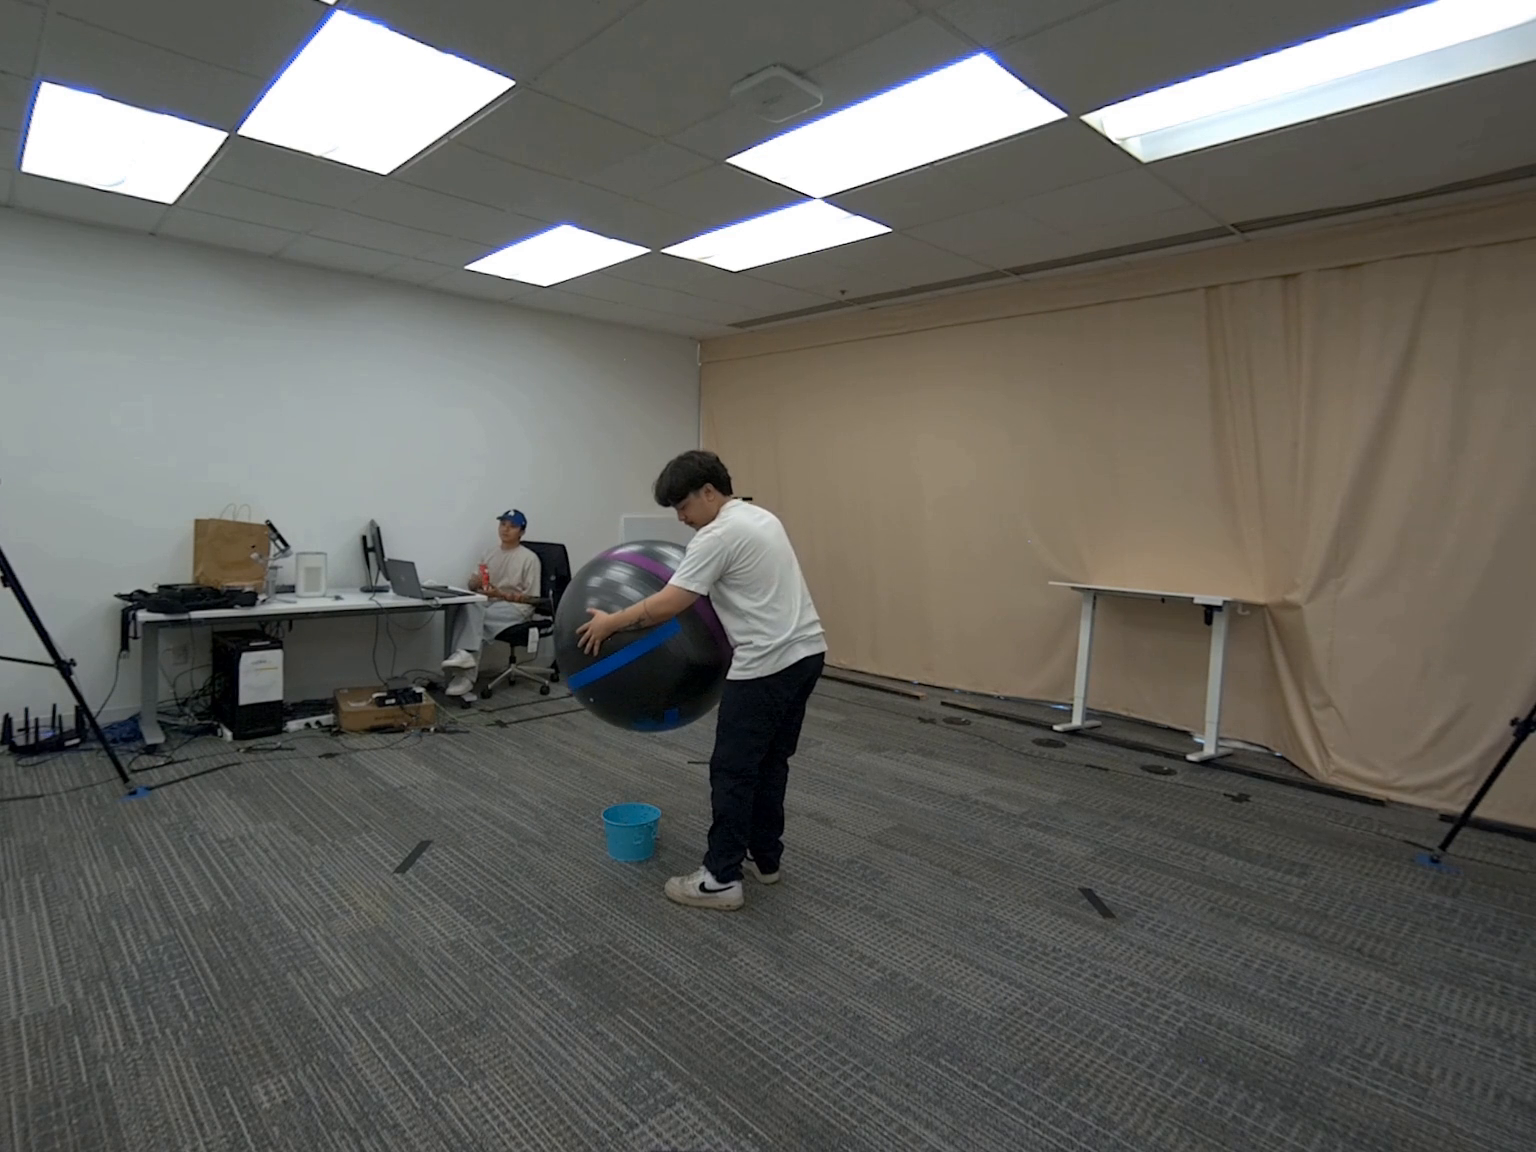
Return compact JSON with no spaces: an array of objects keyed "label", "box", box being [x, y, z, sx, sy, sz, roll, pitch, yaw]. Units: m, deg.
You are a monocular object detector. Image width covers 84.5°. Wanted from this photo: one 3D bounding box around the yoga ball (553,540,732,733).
[{"label":"yoga ball","box":[-0.481,0.246,3.368,0.757,0.756,0.760,1,4,-1]}]
